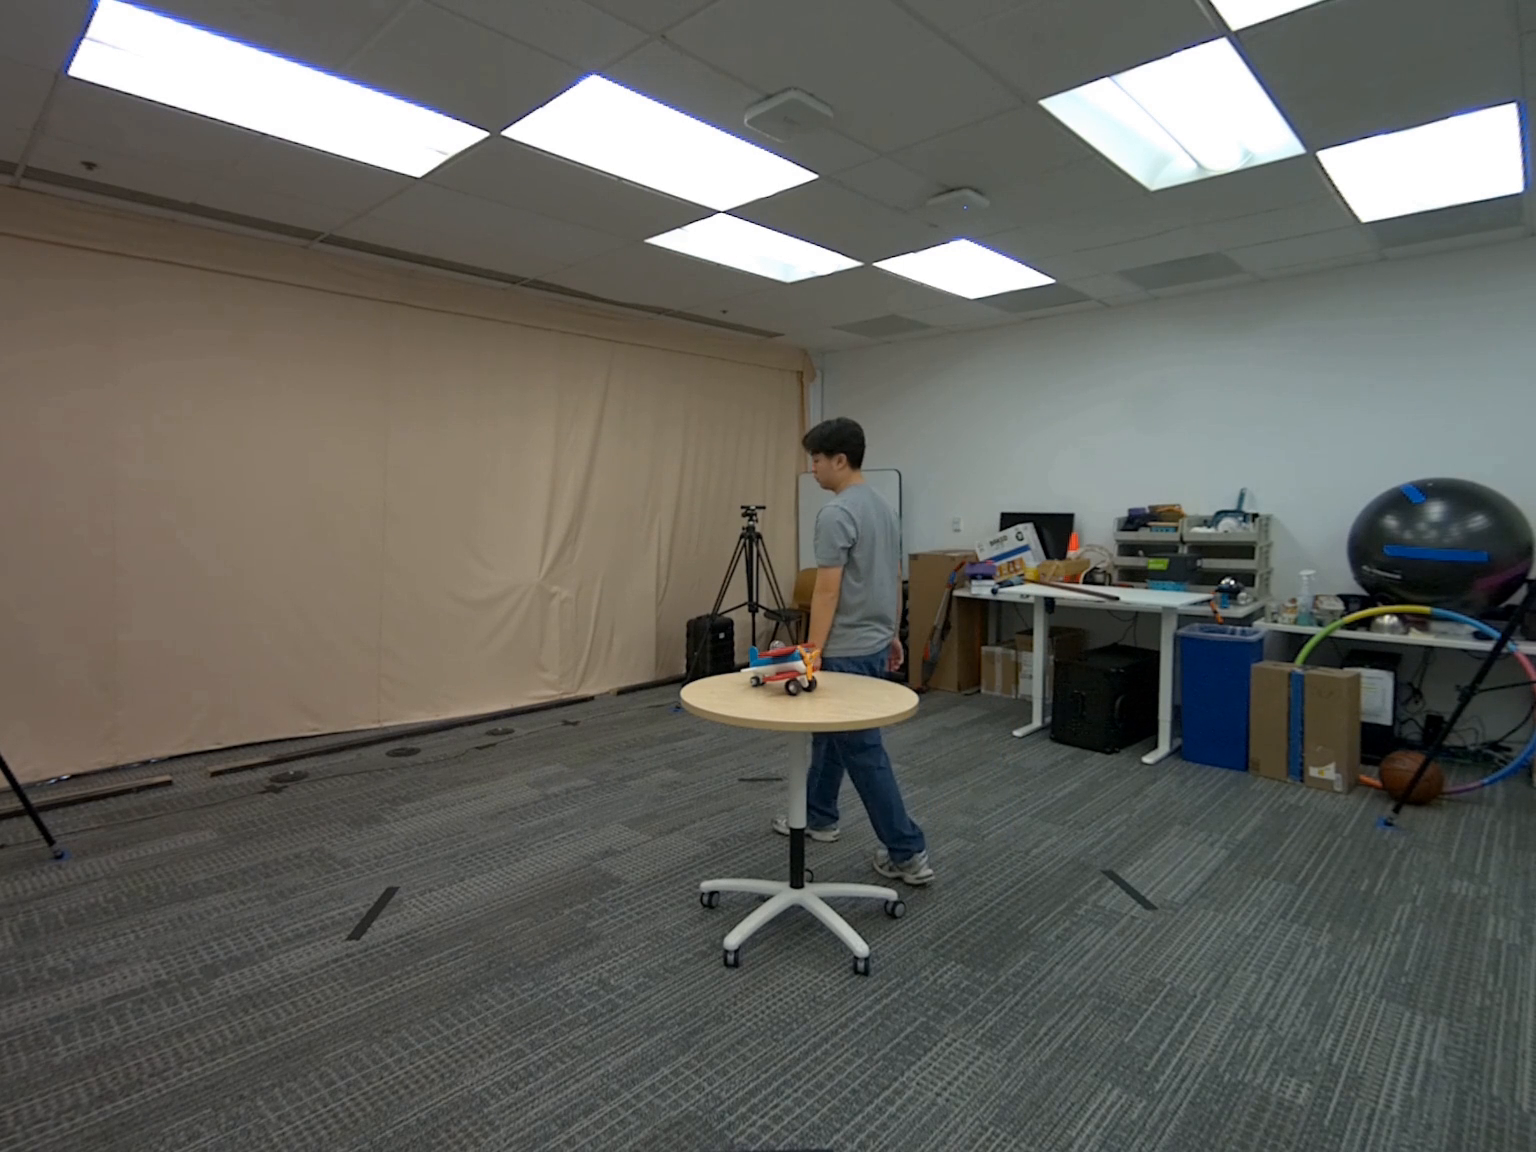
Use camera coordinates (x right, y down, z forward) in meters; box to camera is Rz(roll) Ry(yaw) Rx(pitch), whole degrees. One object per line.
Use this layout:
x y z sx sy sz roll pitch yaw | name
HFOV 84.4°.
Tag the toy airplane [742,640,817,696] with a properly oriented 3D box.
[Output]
0.036 0.301 2.767 0.263 0.156 0.248 3 4 11 | toy airplane
